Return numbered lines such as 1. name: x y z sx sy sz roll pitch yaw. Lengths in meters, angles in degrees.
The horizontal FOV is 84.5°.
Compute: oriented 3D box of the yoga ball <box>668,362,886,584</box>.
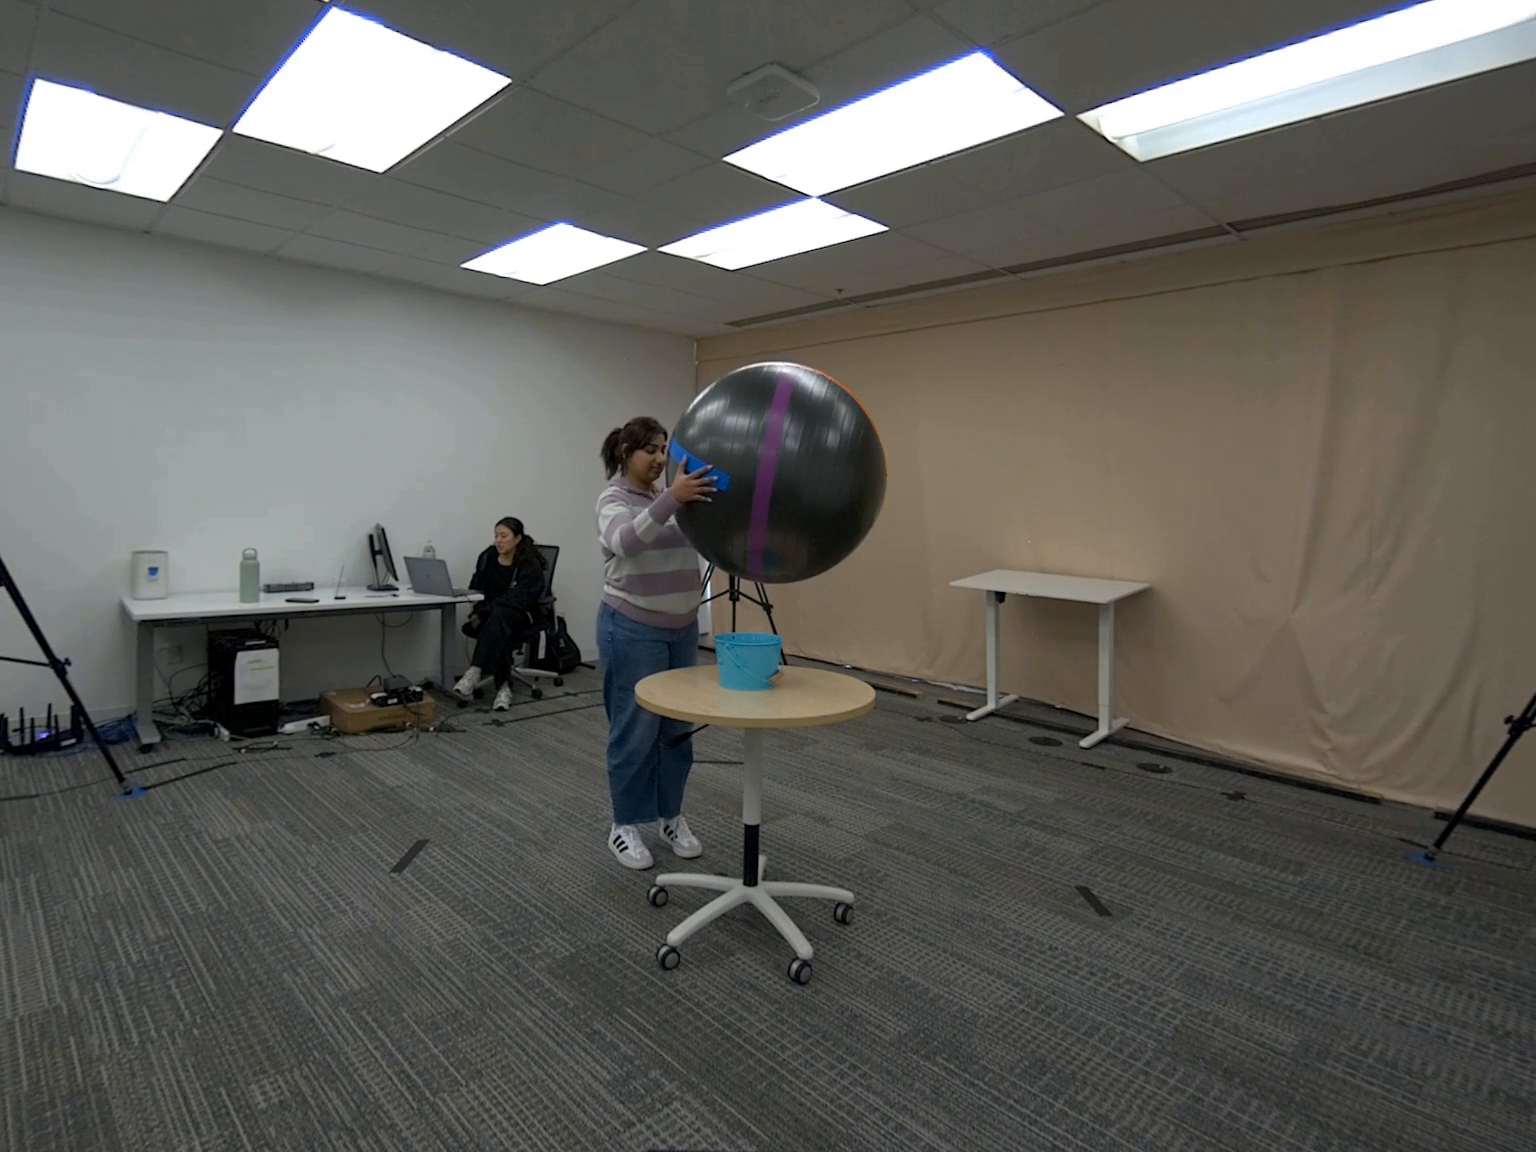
1. yoga ball: 0.024 -0.342 2.925 0.757 0.756 0.761 1 4 -1
